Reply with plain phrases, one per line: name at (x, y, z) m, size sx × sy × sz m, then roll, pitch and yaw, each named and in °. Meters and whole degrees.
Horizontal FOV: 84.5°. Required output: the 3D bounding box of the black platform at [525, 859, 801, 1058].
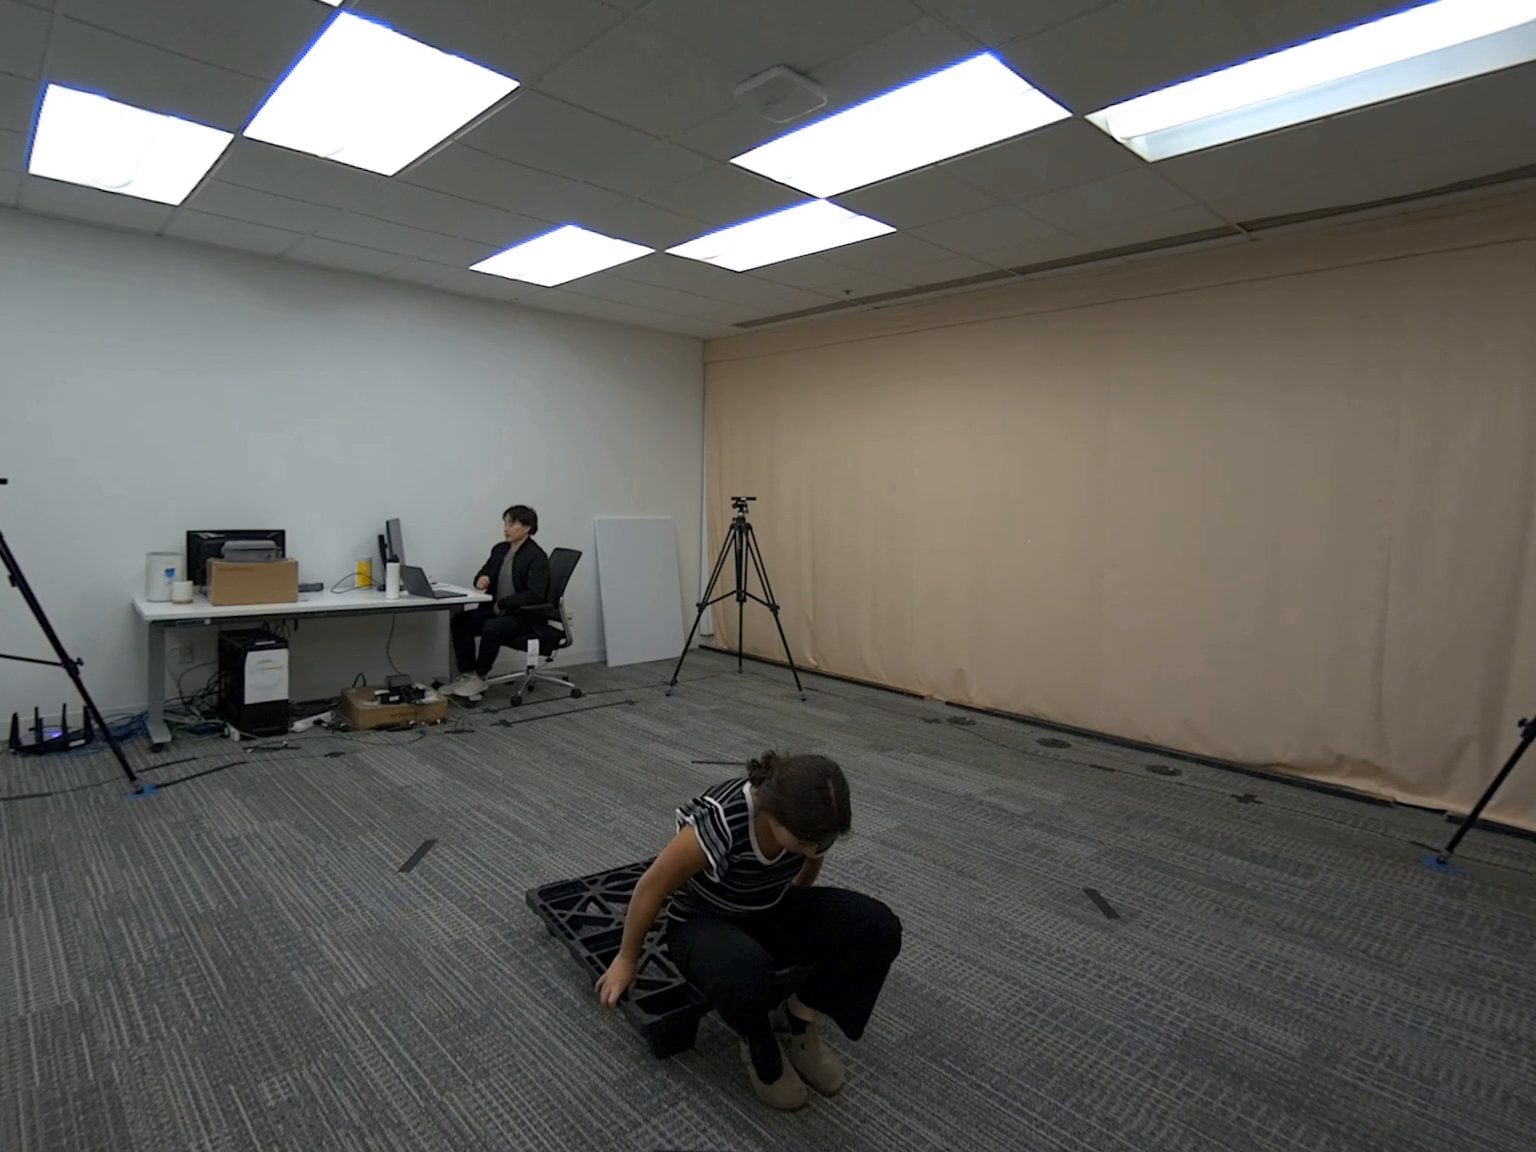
black platform at (-0.306, 1.088, 2.503) m, size 0.592 × 0.143 × 0.826 m, roll -4°, pitch 7°, yaw -35°
